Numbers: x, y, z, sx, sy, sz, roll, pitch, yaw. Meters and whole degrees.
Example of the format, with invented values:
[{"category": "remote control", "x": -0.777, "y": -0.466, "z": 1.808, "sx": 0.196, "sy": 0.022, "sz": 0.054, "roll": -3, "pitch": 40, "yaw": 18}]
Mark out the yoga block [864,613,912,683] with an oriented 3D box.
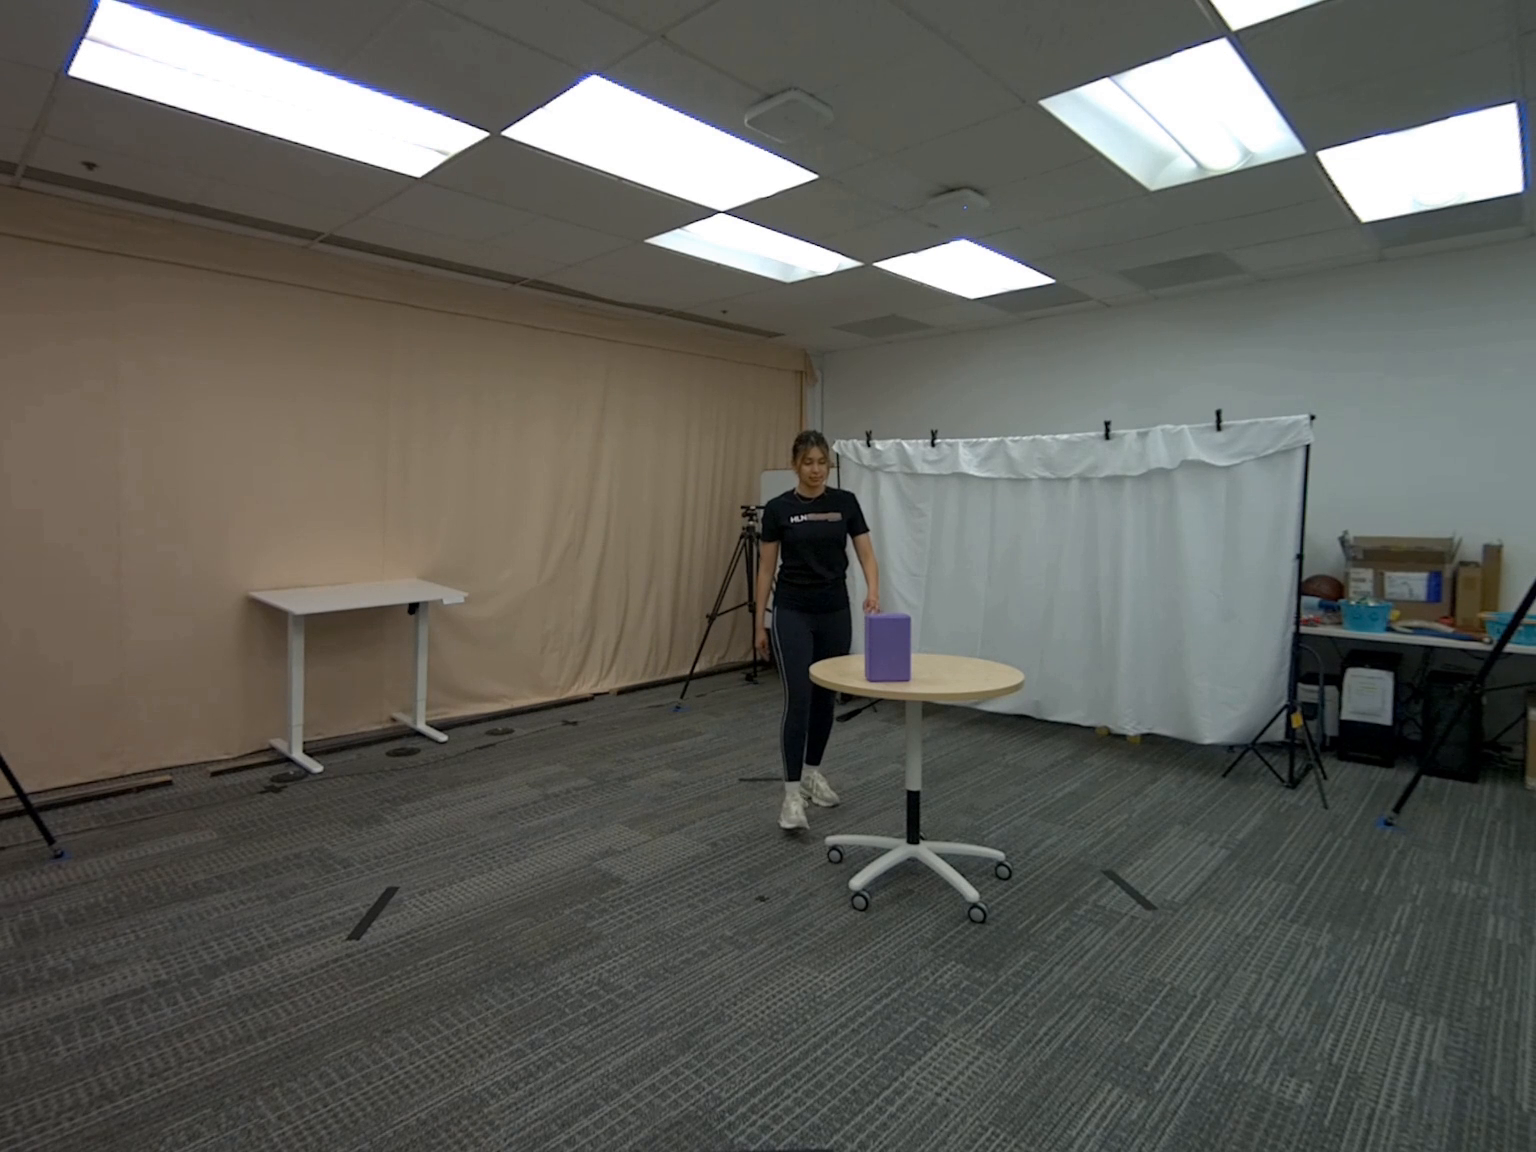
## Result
[{"category": "yoga block", "x": 0.416, "y": 0.248, "z": 2.928, "sx": 0.149, "sy": 0.229, "sz": 0.076, "roll": -9, "pitch": 3, "yaw": 1}]
